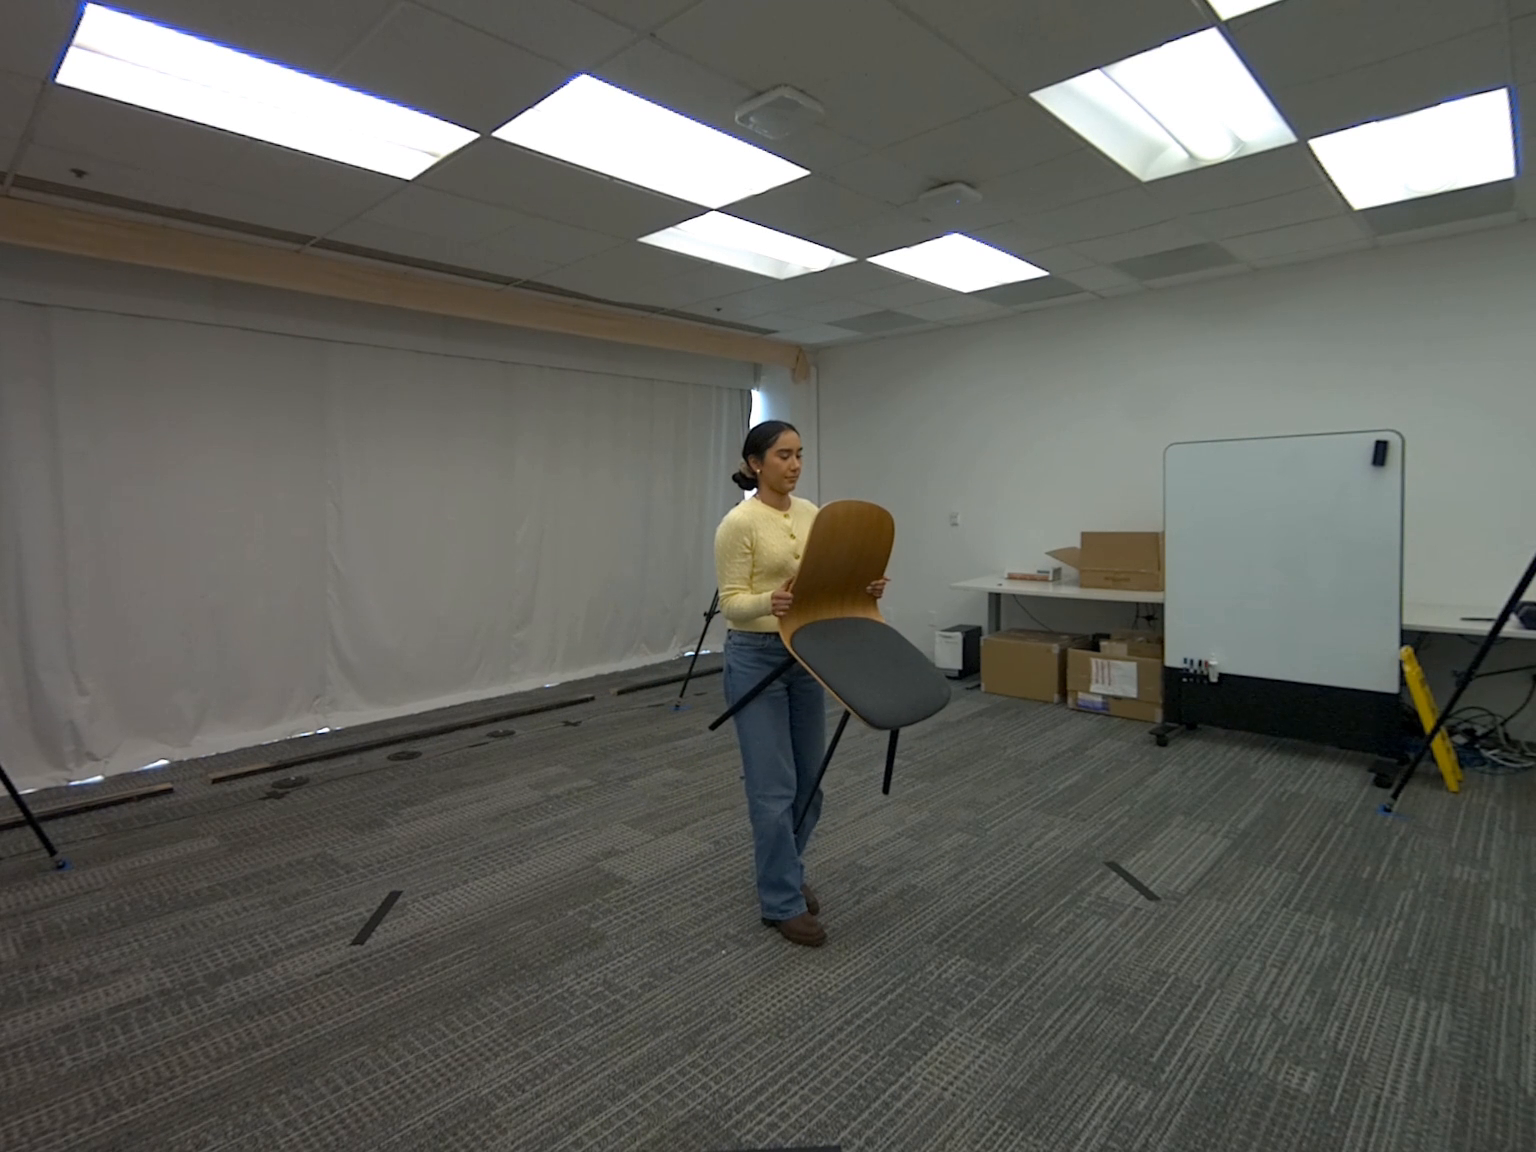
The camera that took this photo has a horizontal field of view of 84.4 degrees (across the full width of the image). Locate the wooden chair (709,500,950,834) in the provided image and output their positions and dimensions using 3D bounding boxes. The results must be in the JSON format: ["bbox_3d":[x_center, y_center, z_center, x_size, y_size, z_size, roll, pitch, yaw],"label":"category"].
[{"bbox_3d":[0.279,0.274,2.558,0.464,0.873,0.542,-6,35,-44],"label":"wooden chair"}]
